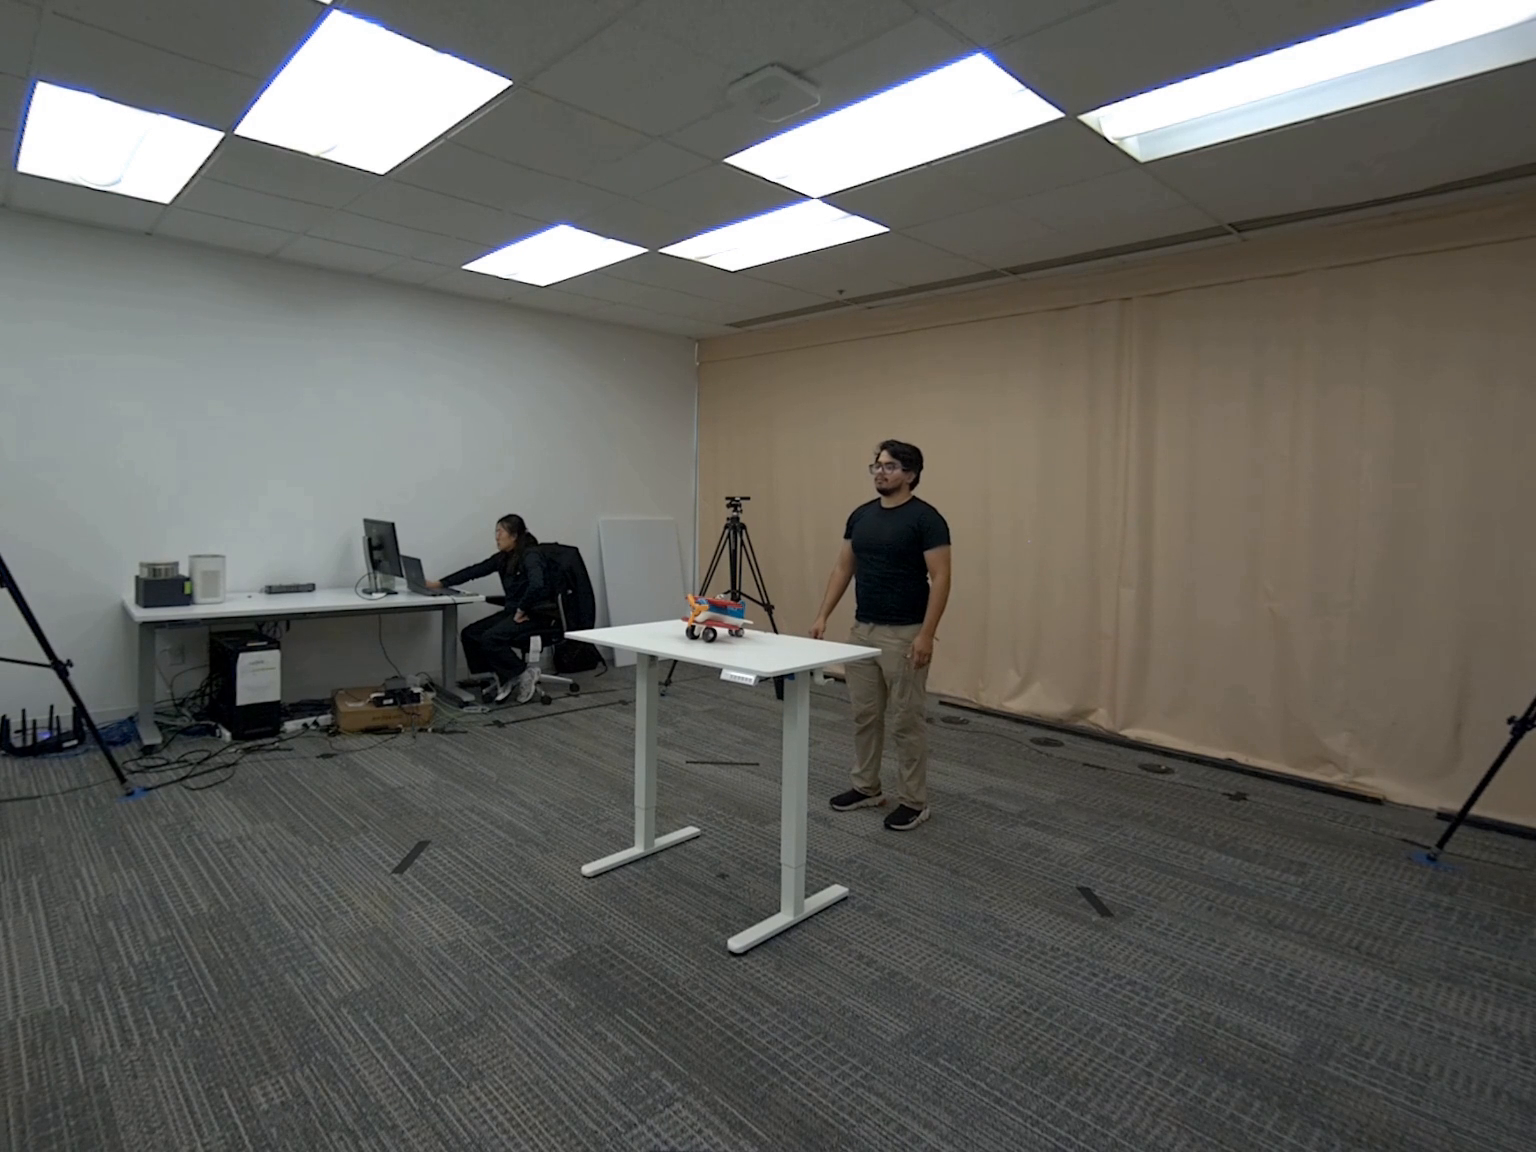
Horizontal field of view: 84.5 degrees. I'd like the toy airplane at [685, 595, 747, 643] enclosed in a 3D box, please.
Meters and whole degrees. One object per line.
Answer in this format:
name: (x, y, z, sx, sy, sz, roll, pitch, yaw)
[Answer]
toy airplane: (-0.197, 0.150, 3.050, 0.254, 0.156, 0.256, 2, 5, 16)
